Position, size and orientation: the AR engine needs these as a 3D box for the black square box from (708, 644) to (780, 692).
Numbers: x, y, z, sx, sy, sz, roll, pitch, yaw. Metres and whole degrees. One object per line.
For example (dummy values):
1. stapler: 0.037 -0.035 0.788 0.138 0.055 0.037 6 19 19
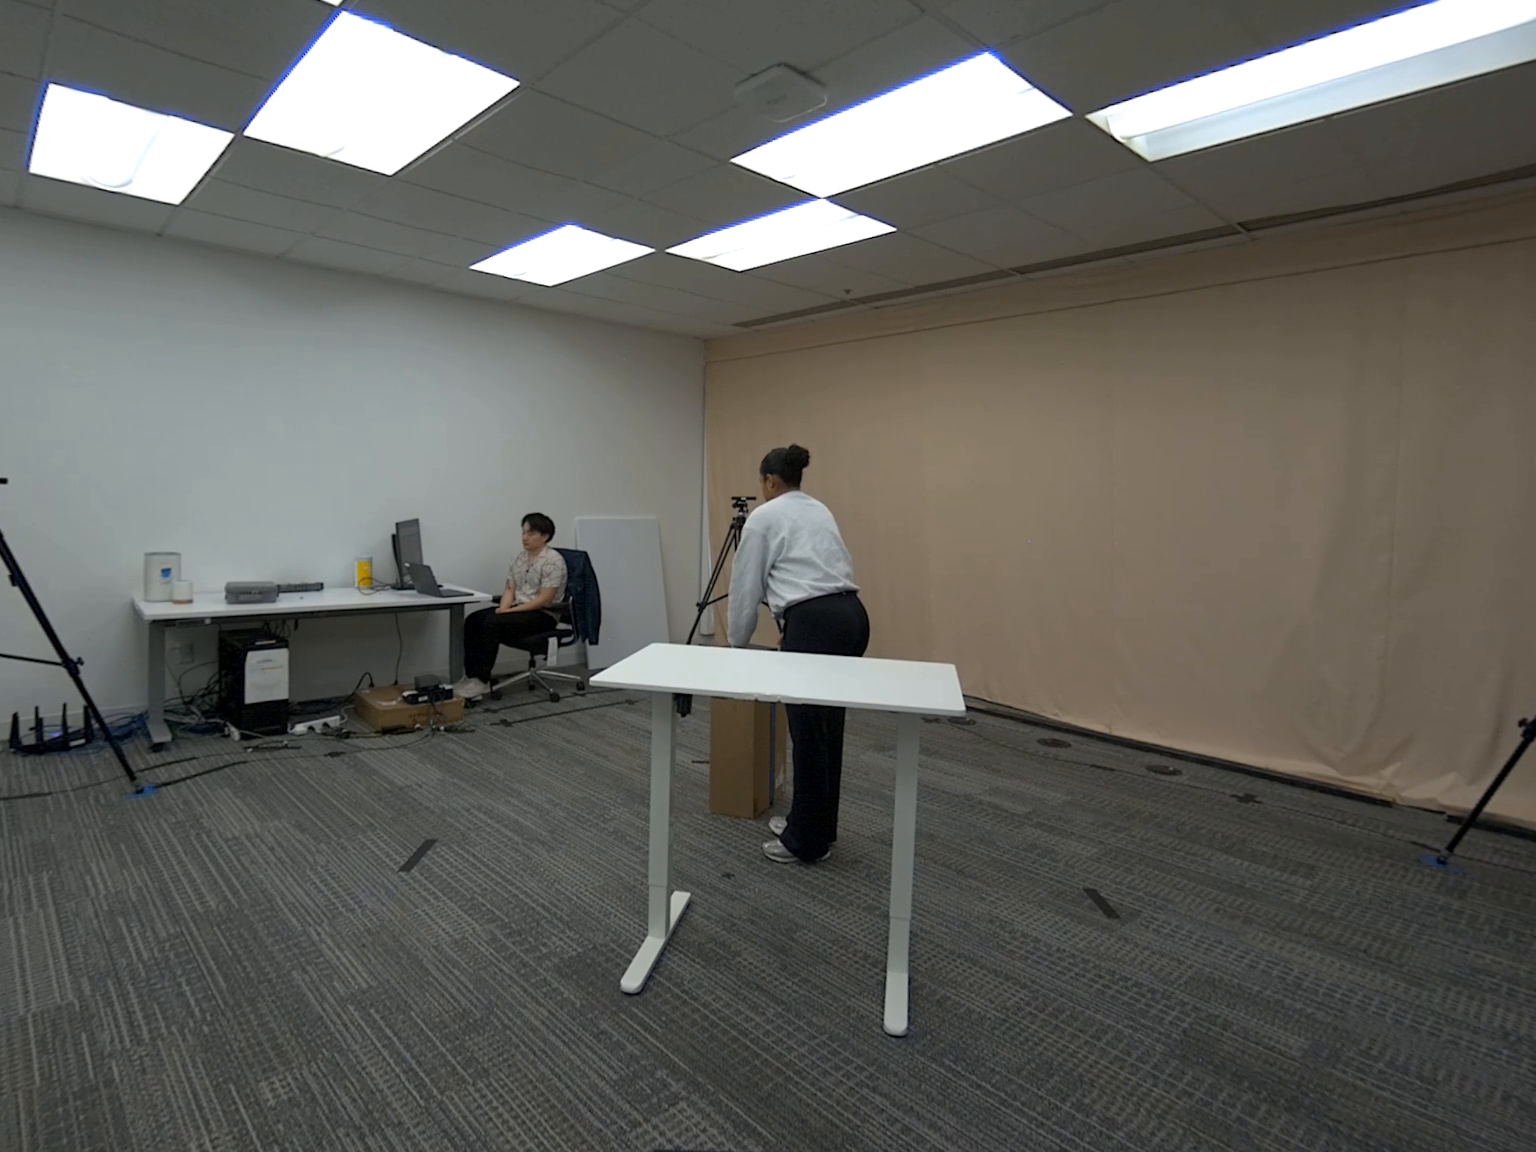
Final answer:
1. black square box: -0.110 0.404 3.808 0.222 0.155 0.223 5 5 40
